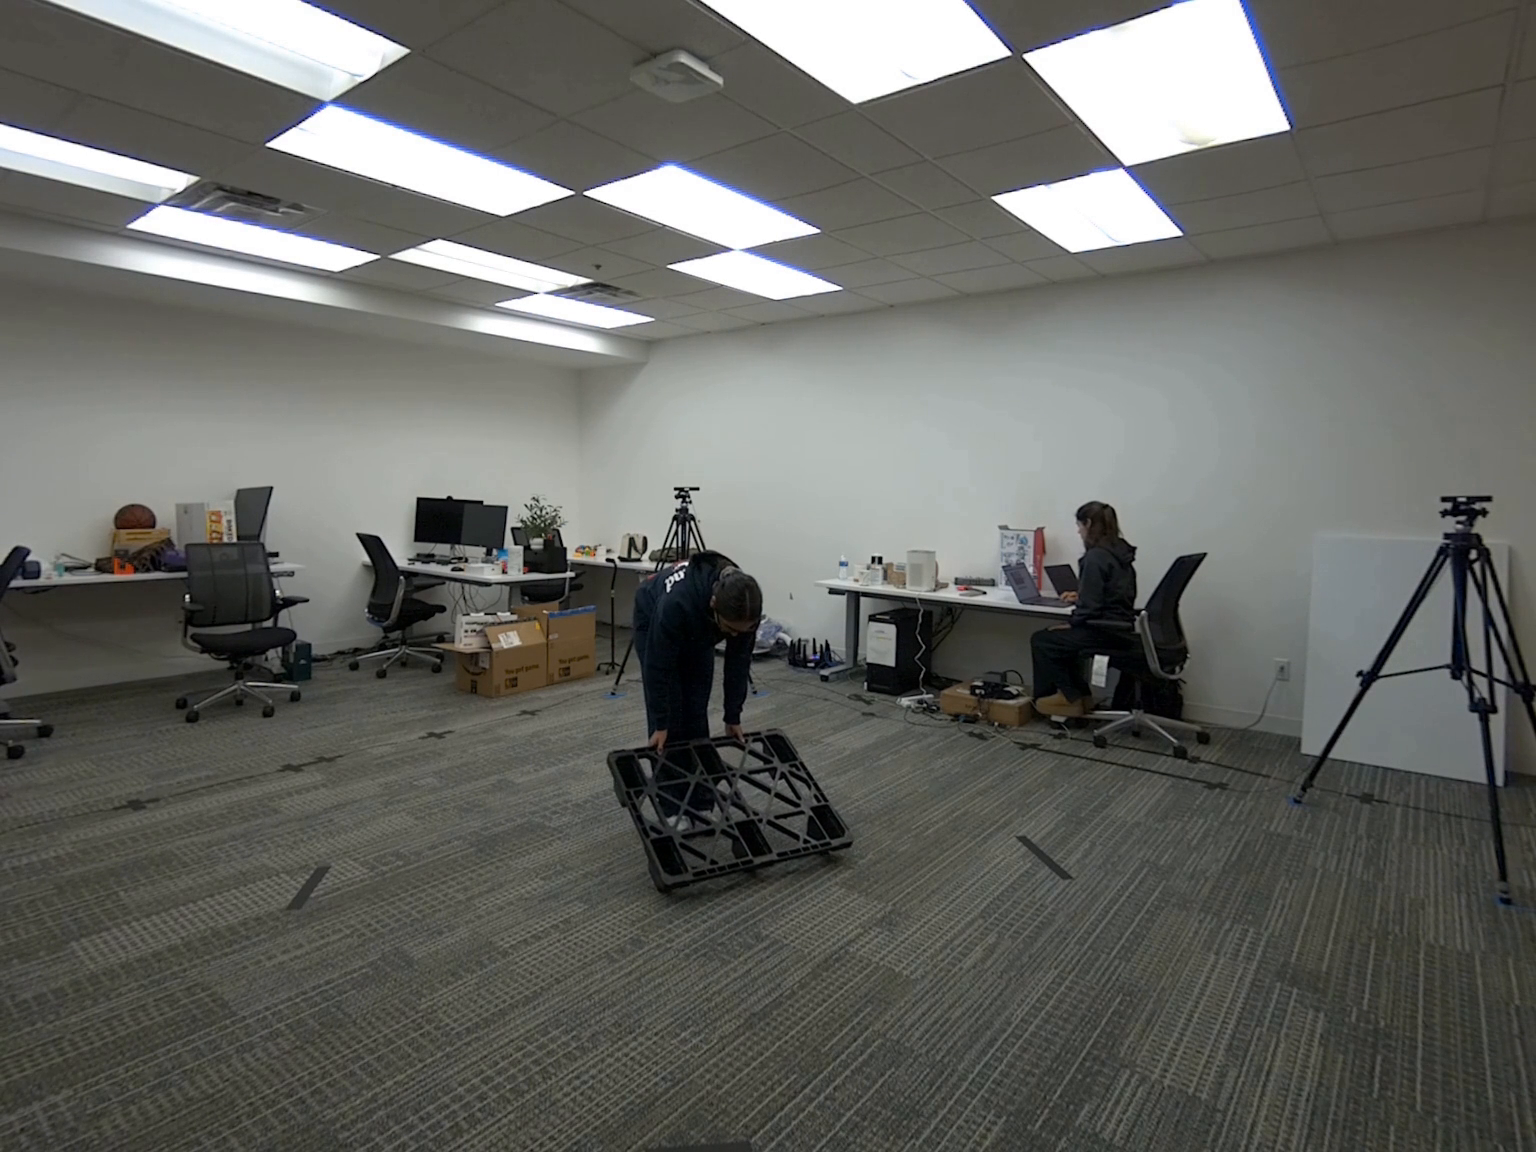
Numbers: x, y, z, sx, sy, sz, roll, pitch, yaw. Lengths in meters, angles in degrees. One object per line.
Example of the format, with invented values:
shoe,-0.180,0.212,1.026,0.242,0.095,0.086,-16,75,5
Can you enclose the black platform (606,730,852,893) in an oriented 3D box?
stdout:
black platform,-0.171,0.876,3.238,0.784,0.141,0.631,-3,37,-30
